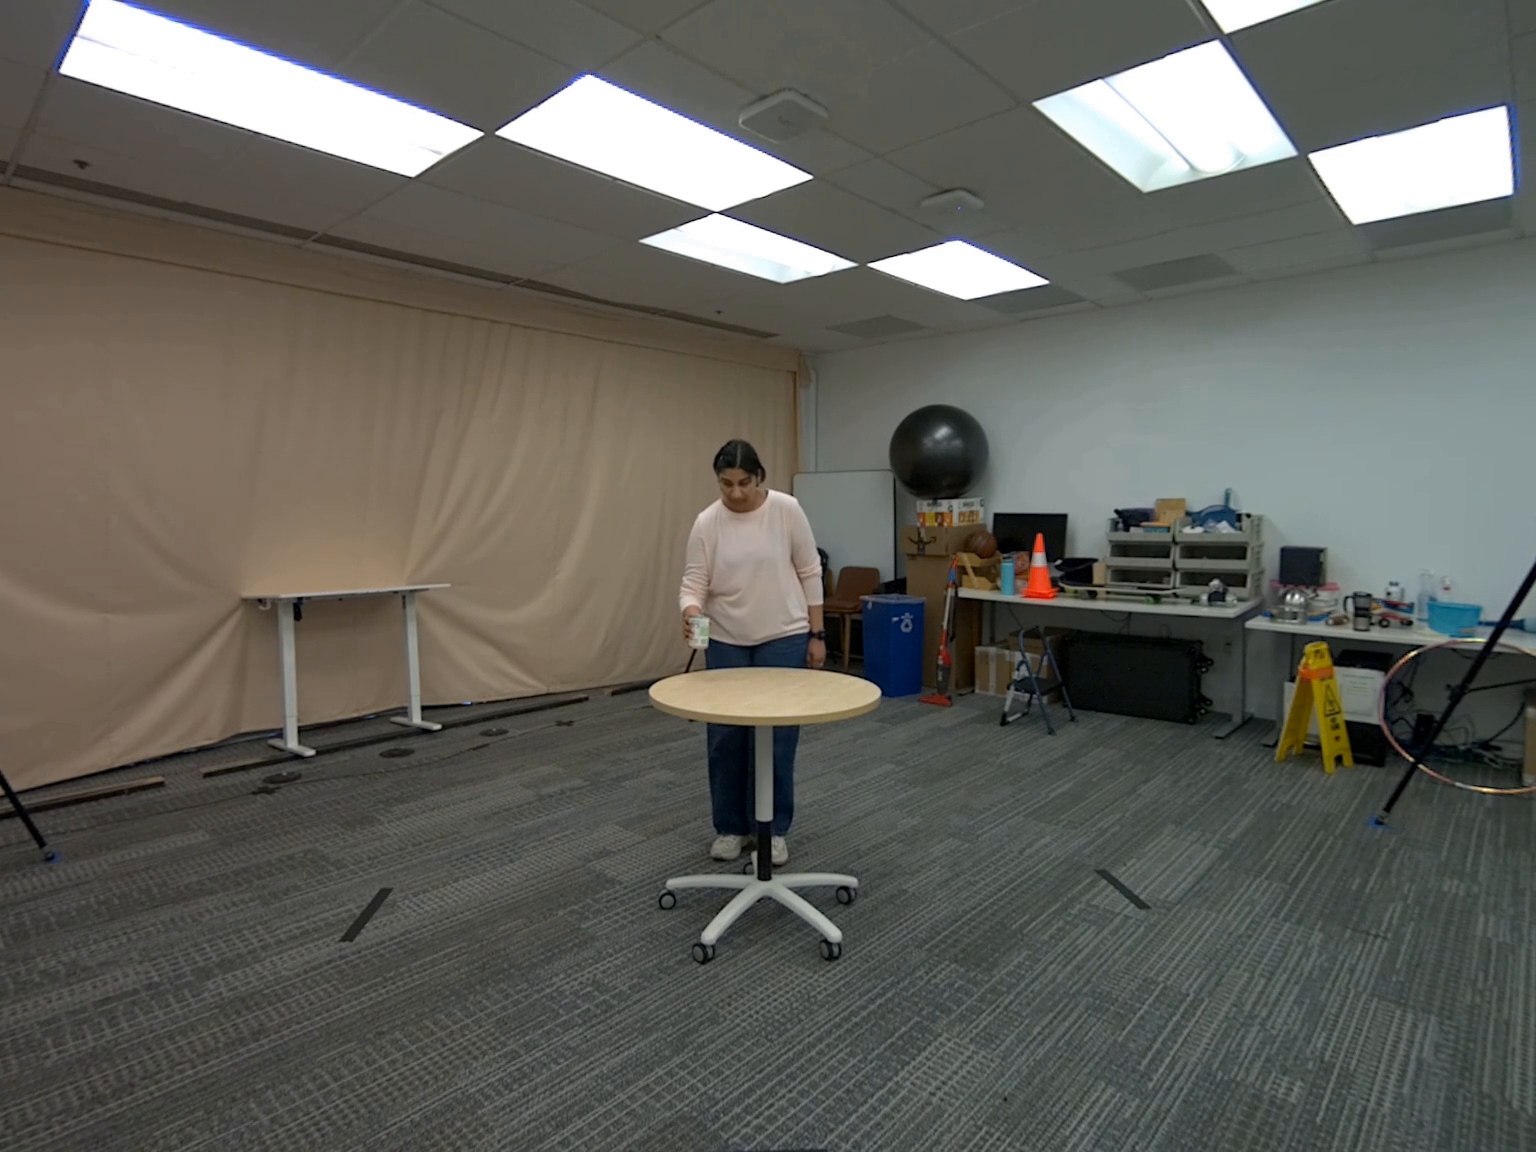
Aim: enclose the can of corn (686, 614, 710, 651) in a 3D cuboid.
[{"bbox_3d":[-0.250,0.201,2.987,0.074,0.111,0.074,1,-2,-2],"label":"can of corn"}]
